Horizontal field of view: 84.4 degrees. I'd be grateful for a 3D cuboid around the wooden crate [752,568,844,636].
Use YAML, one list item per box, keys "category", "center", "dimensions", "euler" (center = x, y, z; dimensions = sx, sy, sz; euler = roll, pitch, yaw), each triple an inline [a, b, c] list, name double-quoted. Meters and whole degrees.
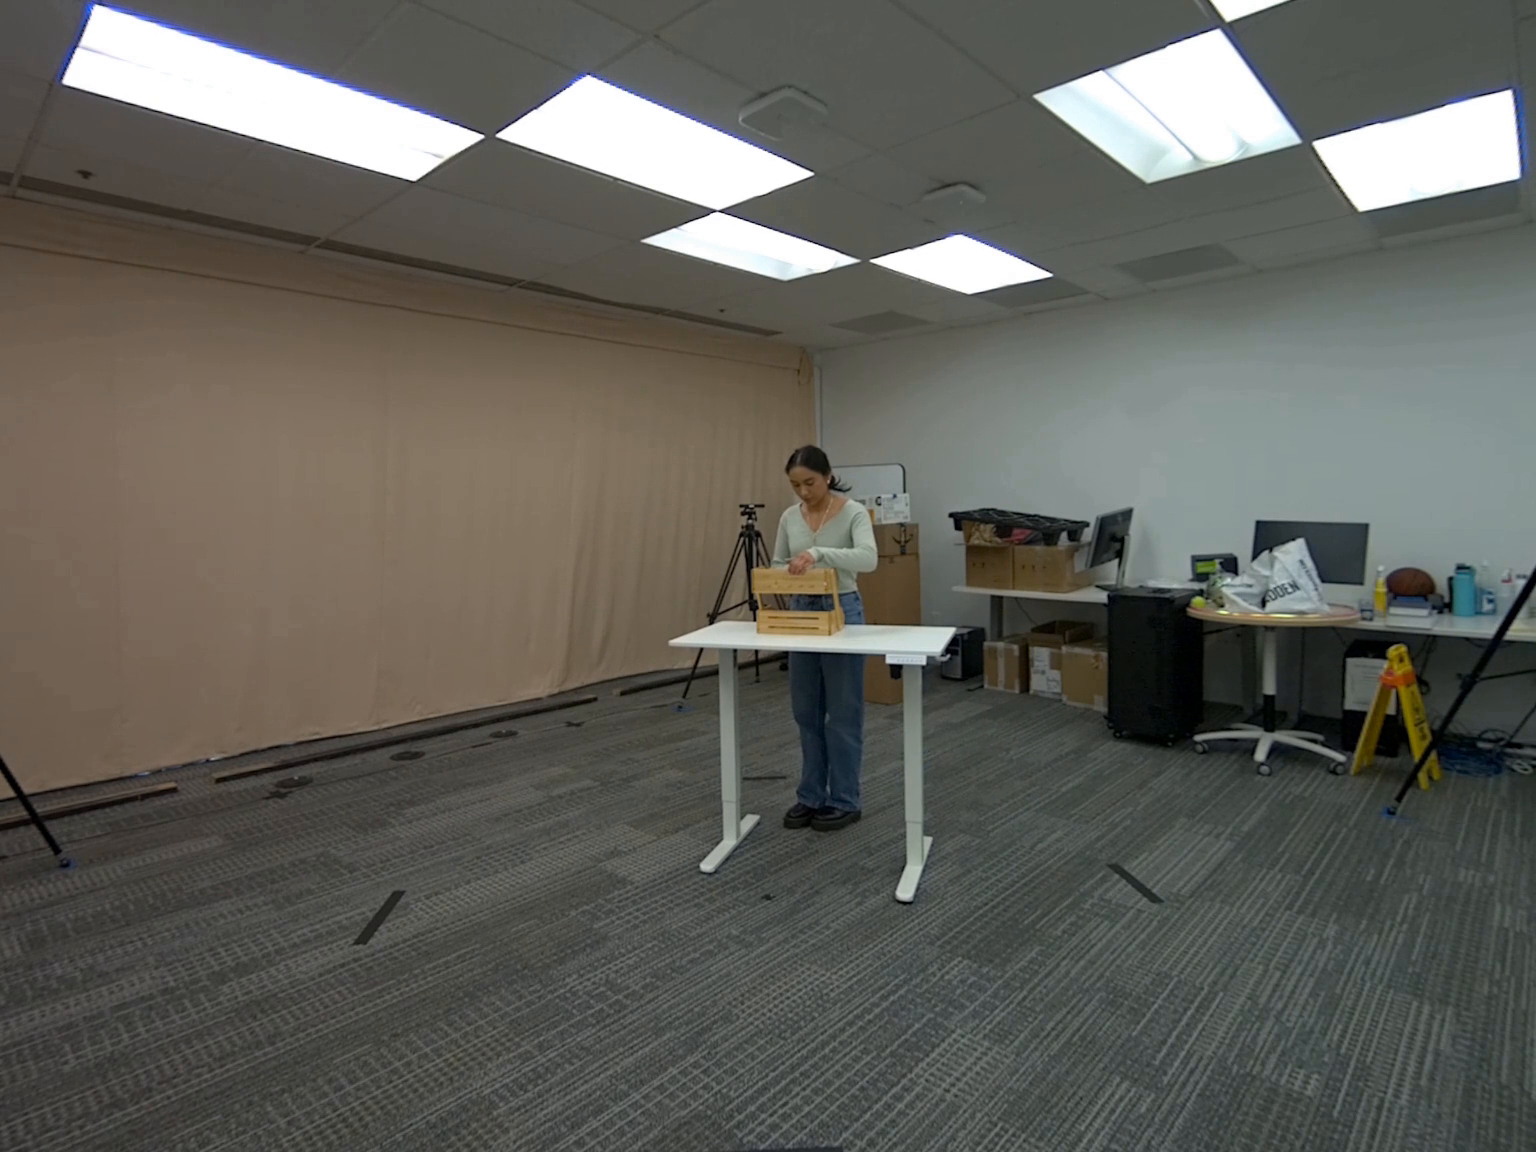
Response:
- category: "wooden crate"
  center: [0.126, 0.092, 3.379]
  dimensions: [0.331, 0.273, 0.297]
  euler: [0, 4, 19]
